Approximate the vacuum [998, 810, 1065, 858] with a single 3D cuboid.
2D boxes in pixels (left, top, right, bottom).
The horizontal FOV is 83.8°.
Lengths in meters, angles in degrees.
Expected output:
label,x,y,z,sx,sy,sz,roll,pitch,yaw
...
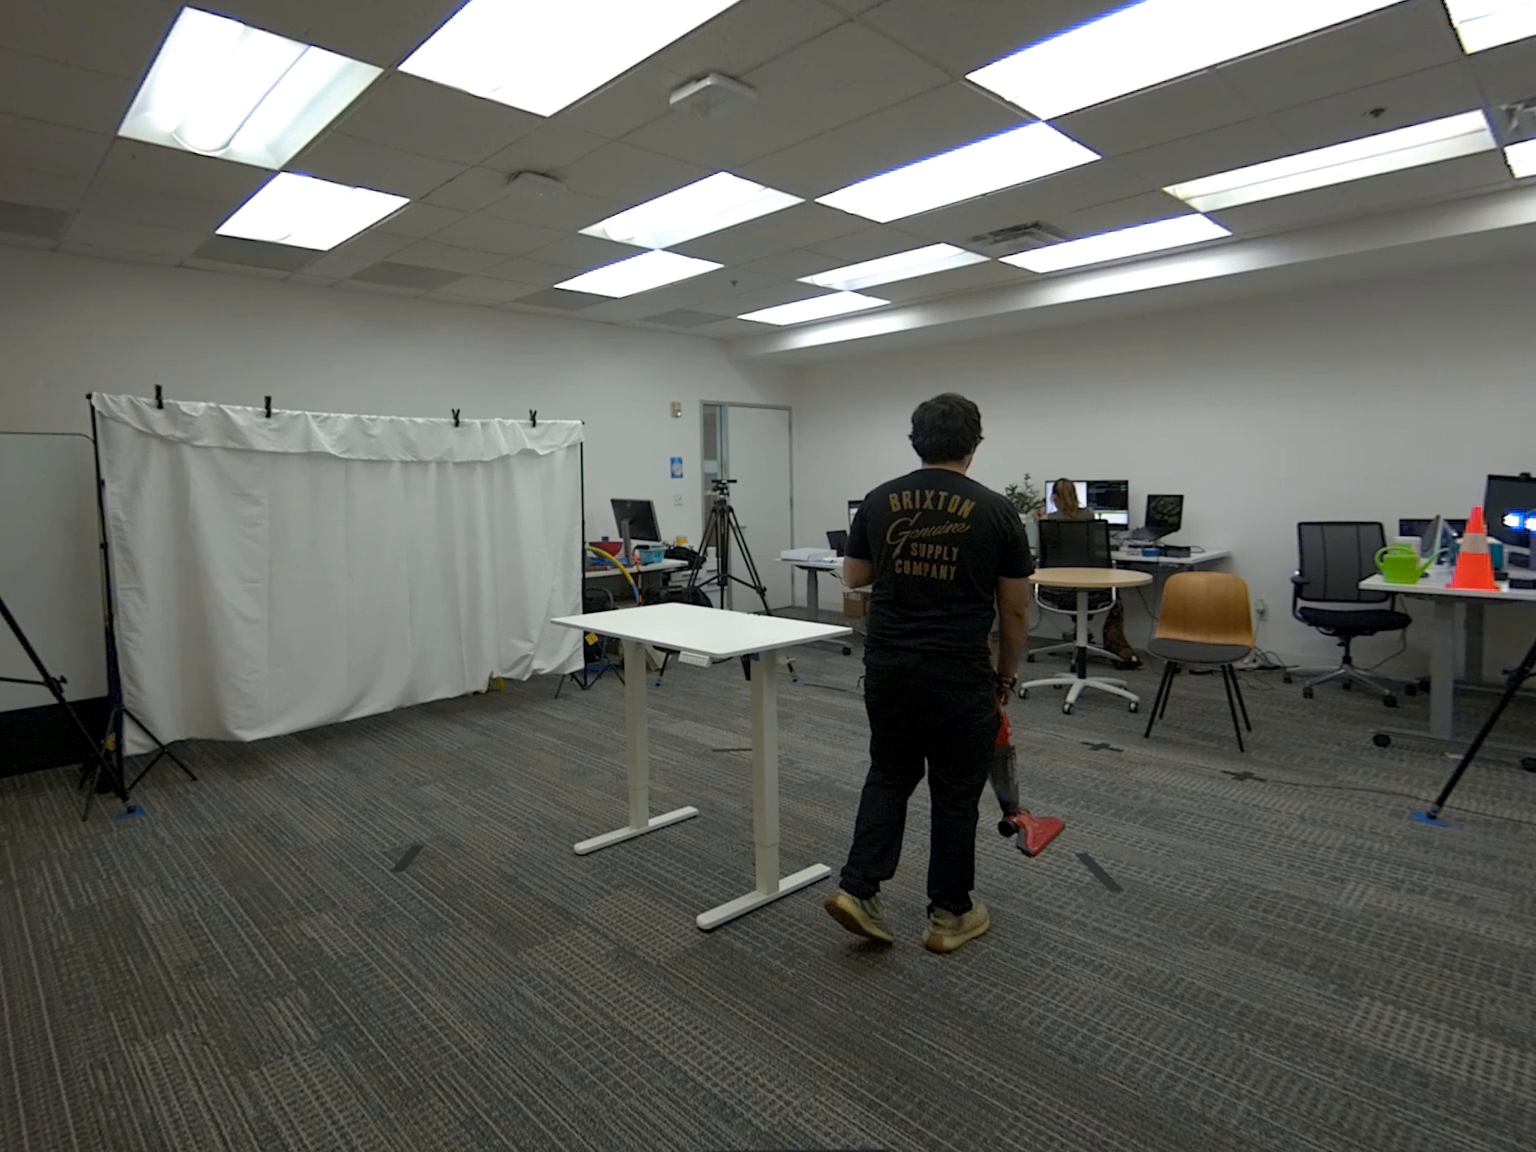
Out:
label,x,y,z,sx,sy,sz,roll,pitch,yaw
vacuum,0.654,0.297,2.718,0.146,1.057,0.246,-22,-8,36
